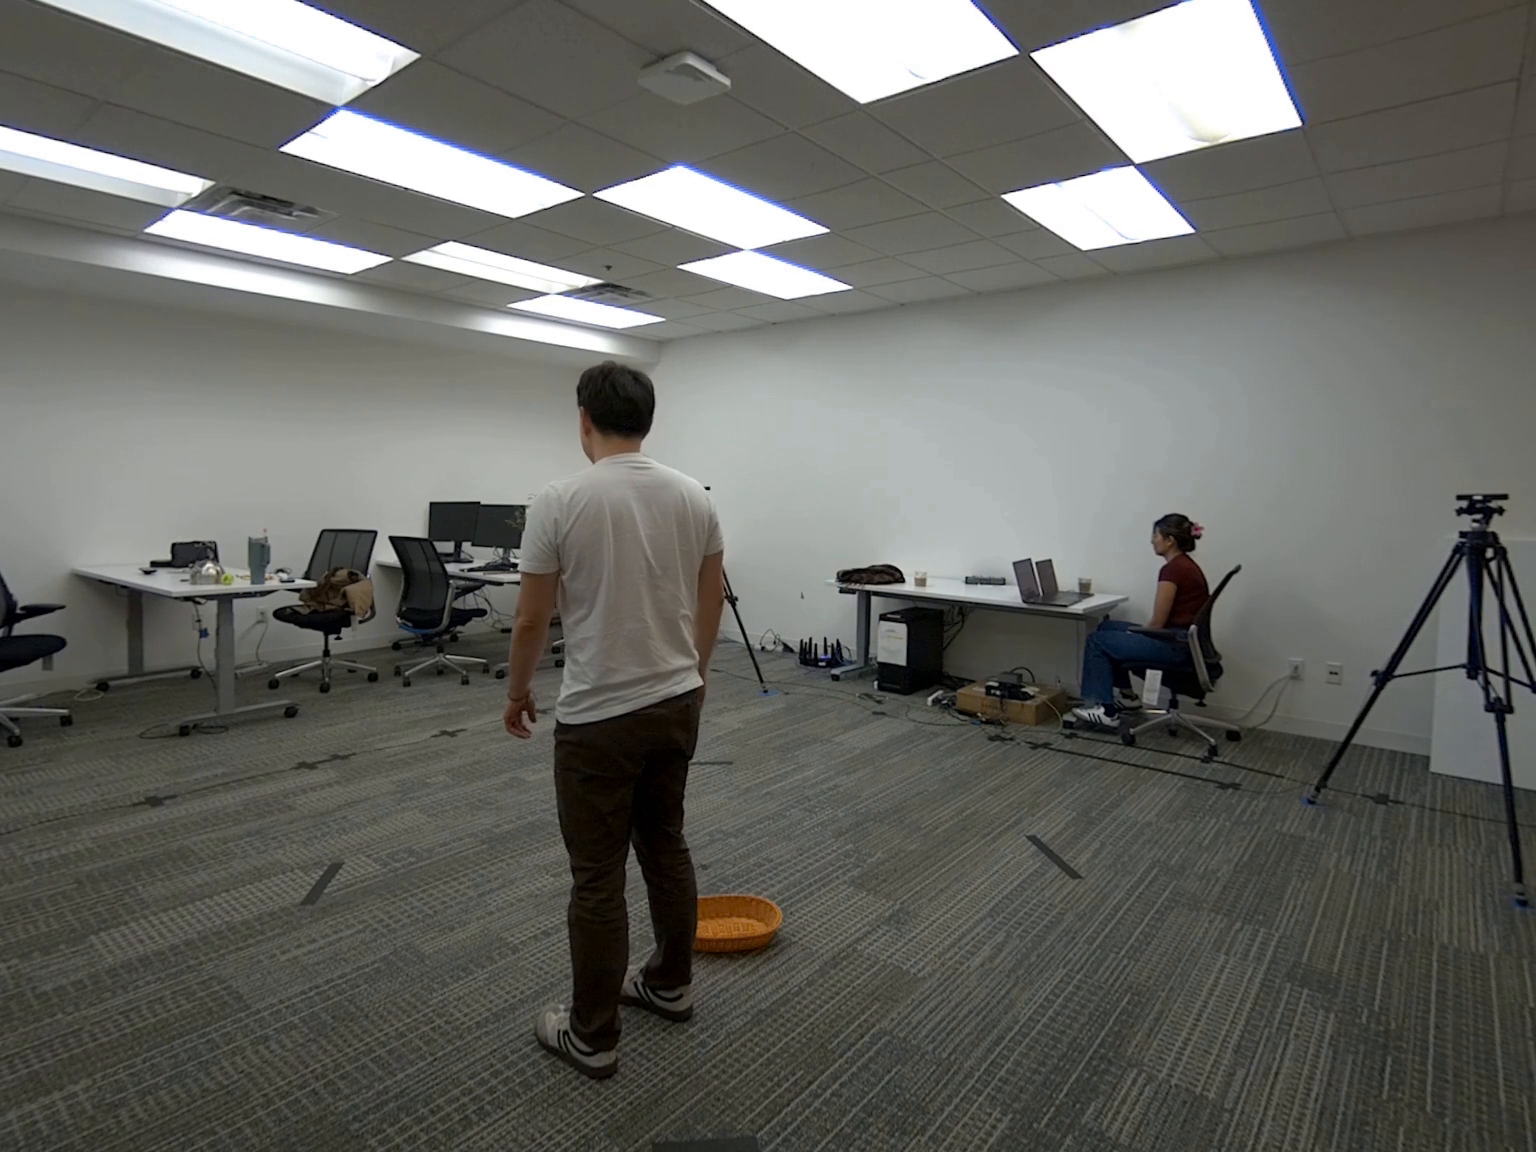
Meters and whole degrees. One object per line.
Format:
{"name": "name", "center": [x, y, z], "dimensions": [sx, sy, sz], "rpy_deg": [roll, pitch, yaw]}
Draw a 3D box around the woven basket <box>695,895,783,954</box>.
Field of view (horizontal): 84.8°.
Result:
{"name": "woven basket", "center": [-0.134, 1.074, 2.626], "dimensions": [0.346, 0.073, 0.256], "rpy_deg": [0, 6, -11]}
